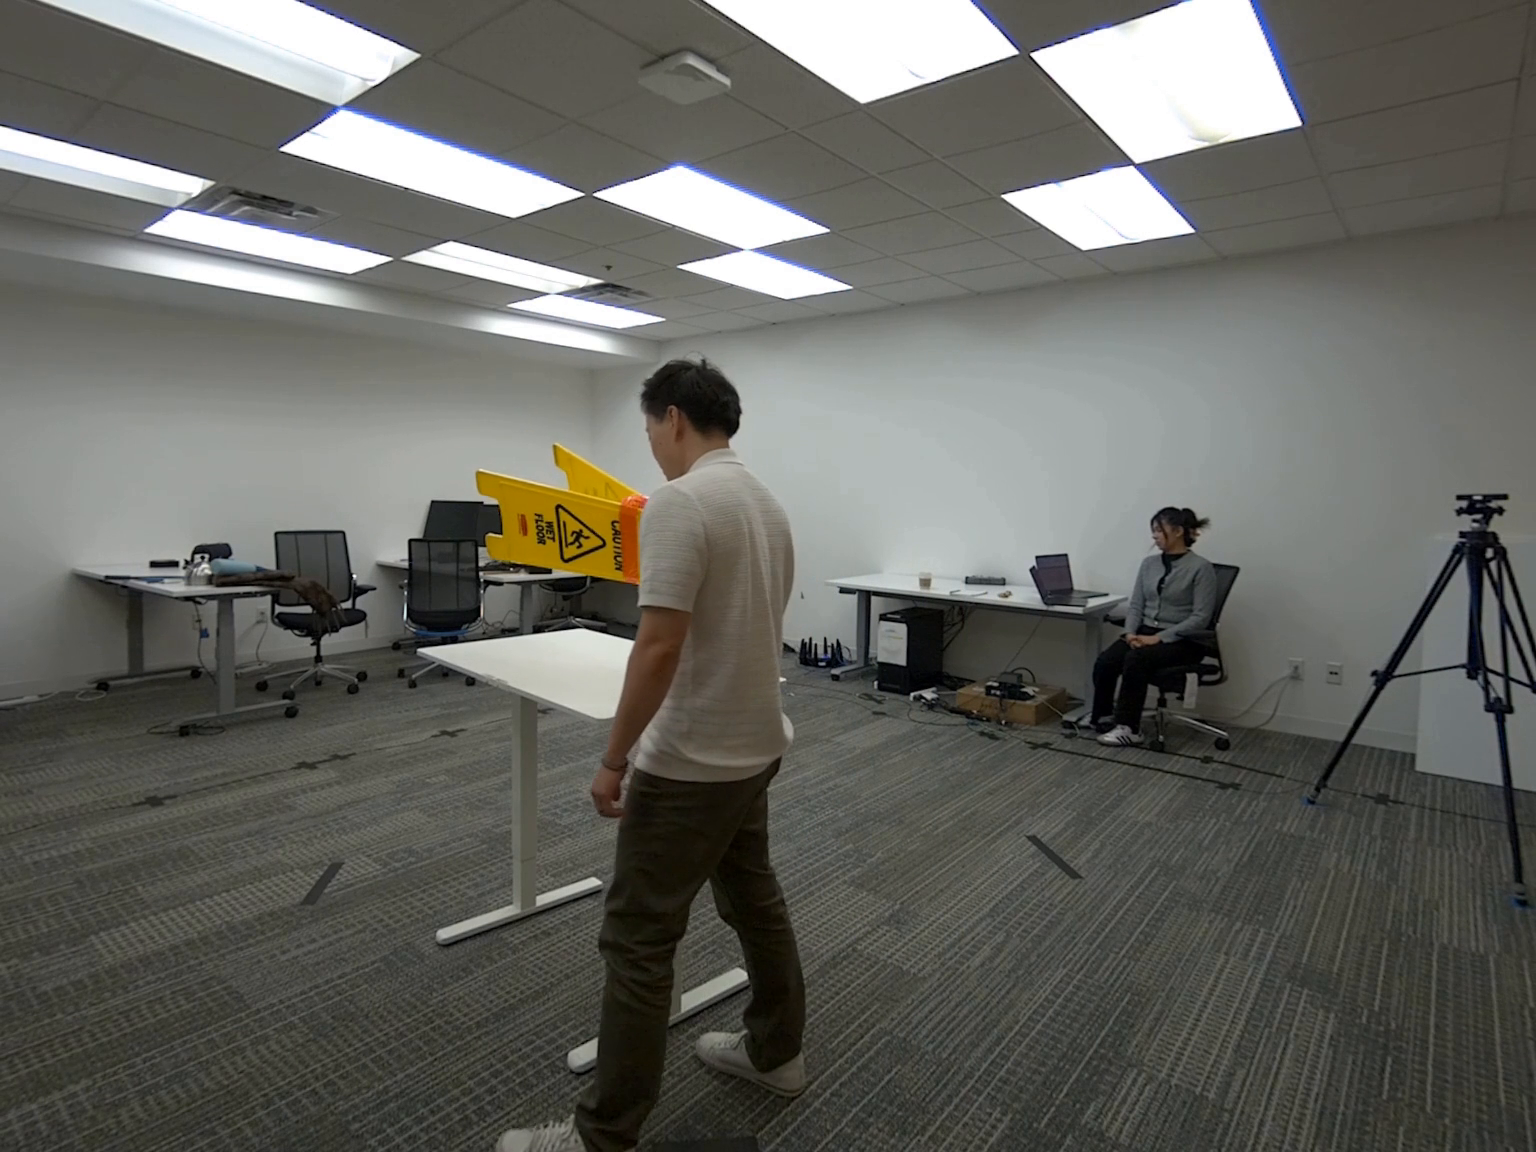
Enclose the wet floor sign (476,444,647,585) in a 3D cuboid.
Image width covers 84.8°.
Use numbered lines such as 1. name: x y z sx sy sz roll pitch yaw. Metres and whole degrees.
1. wet floor sign: -0.497 -0.148 2.394 0.670 0.276 0.286 19 33 34
